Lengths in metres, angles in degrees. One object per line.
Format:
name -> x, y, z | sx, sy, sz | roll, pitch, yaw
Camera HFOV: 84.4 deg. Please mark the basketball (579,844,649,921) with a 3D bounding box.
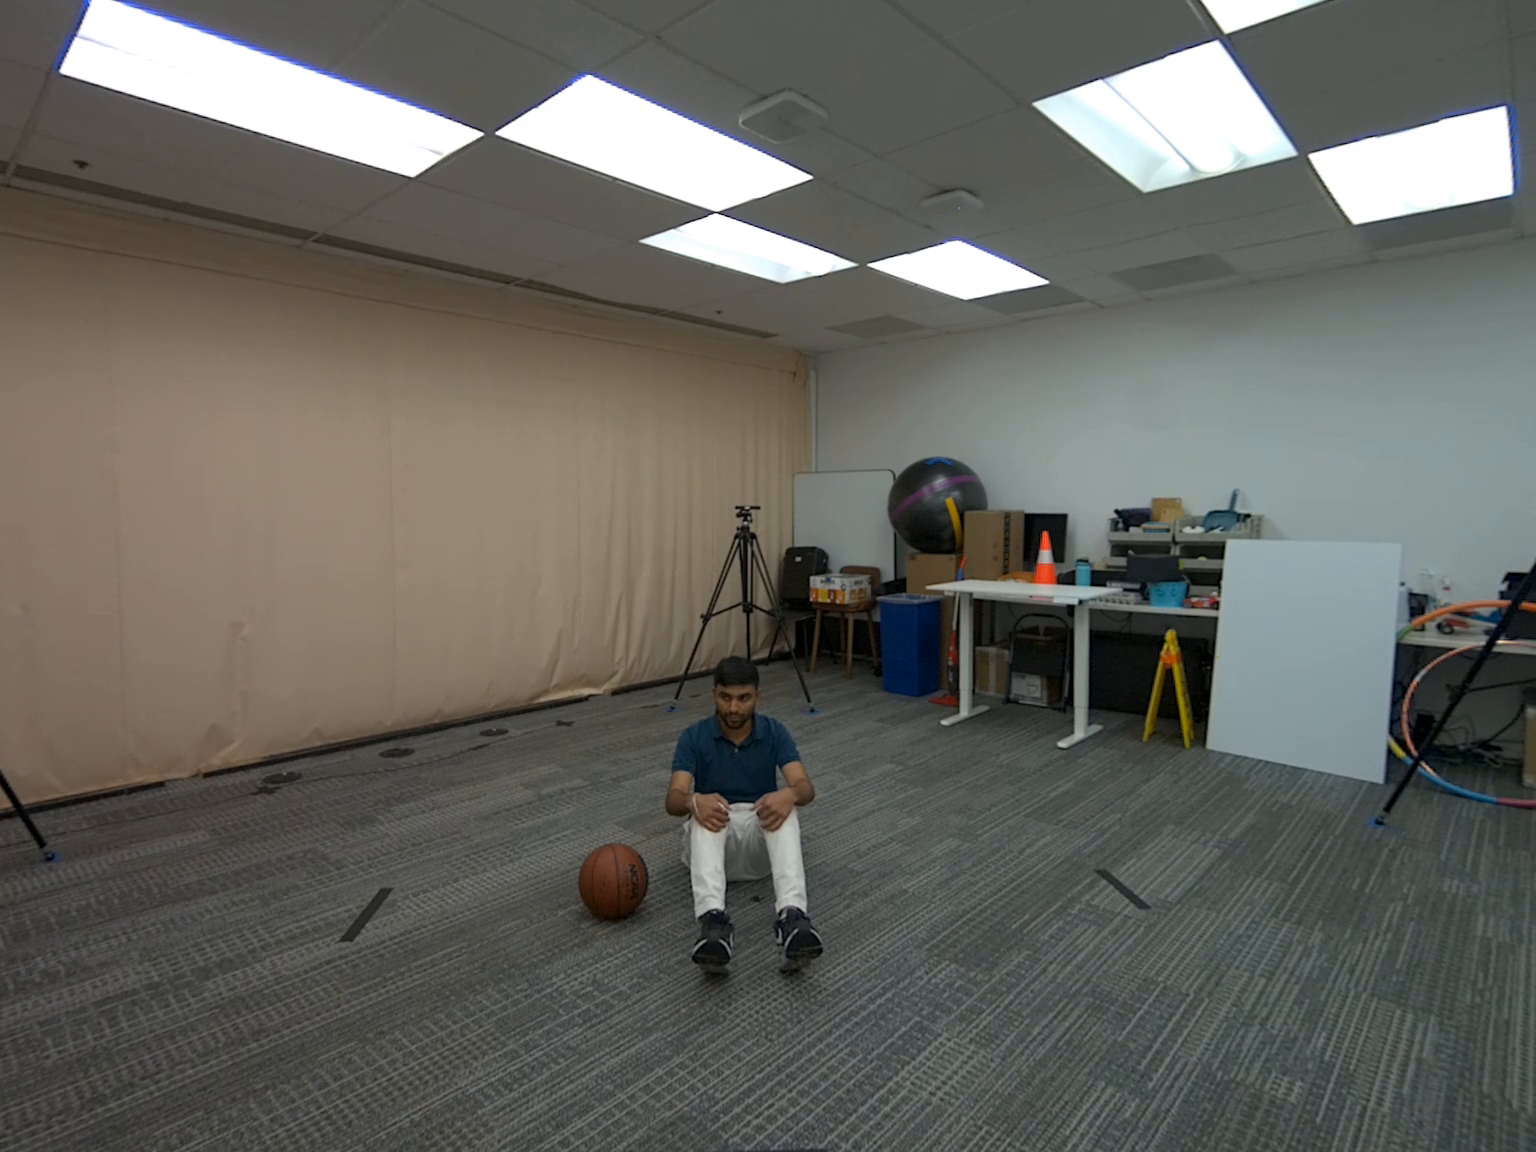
basketball -> -0.525, 1.039, 2.874 | 0.236, 0.235, 0.237 | 0, 4, -2
